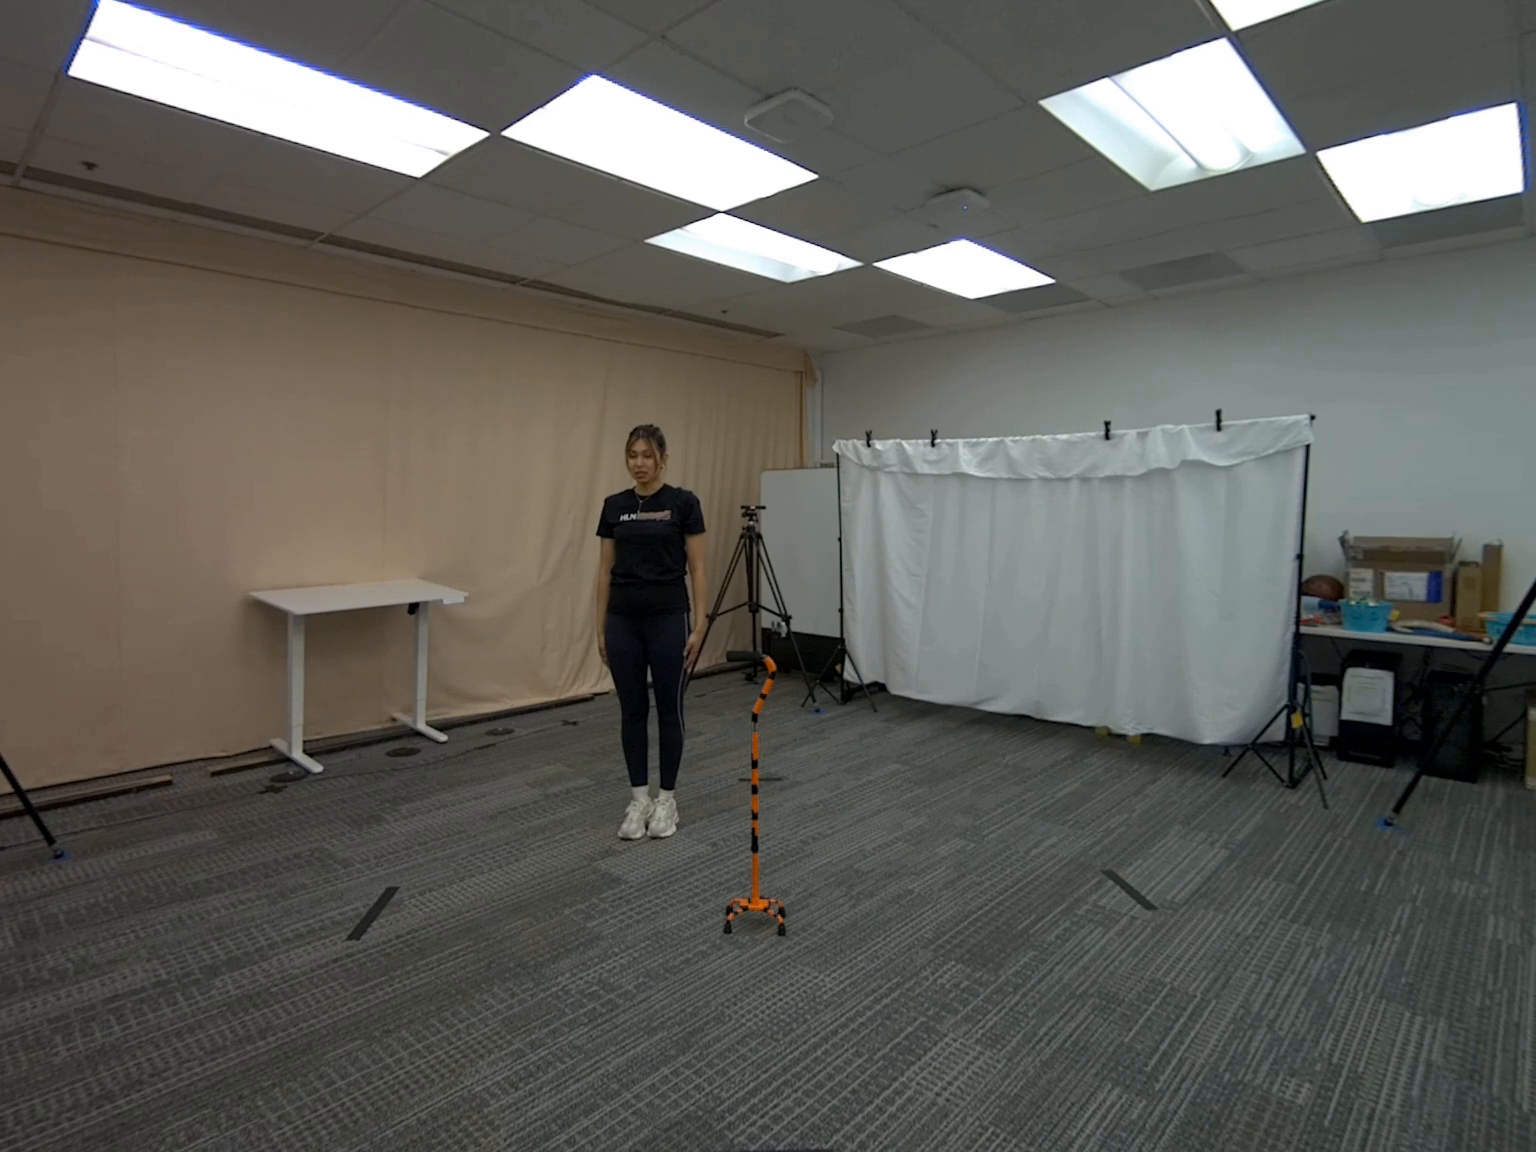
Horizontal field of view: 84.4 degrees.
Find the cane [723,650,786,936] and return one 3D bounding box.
[{"bbox_3d":[-0.040,0.709,2.781,0.207,0.906,0.151,0,3,2],"label":"cane"}]
